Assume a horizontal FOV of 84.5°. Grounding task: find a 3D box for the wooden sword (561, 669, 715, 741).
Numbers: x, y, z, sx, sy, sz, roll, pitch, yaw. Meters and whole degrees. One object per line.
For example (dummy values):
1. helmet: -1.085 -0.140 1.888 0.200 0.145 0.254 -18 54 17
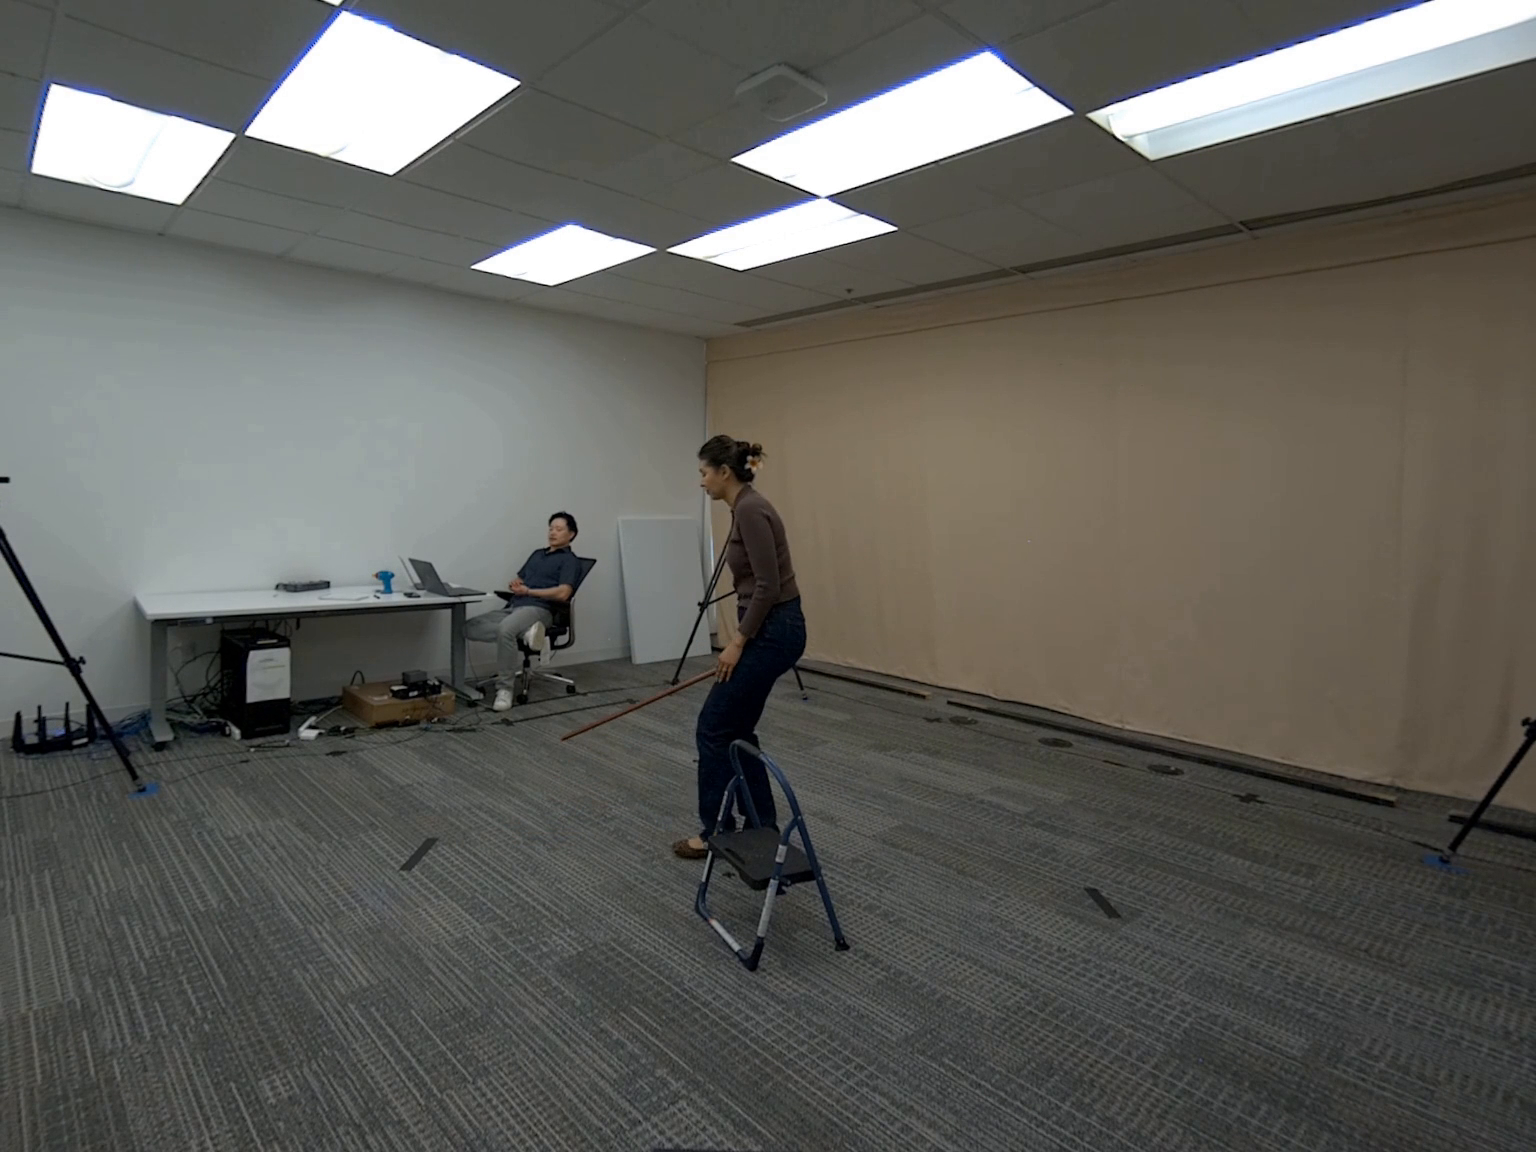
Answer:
1. wooden sword: -0.416 0.500 3.569 1.021 0.025 0.050 -23 -29 -8
